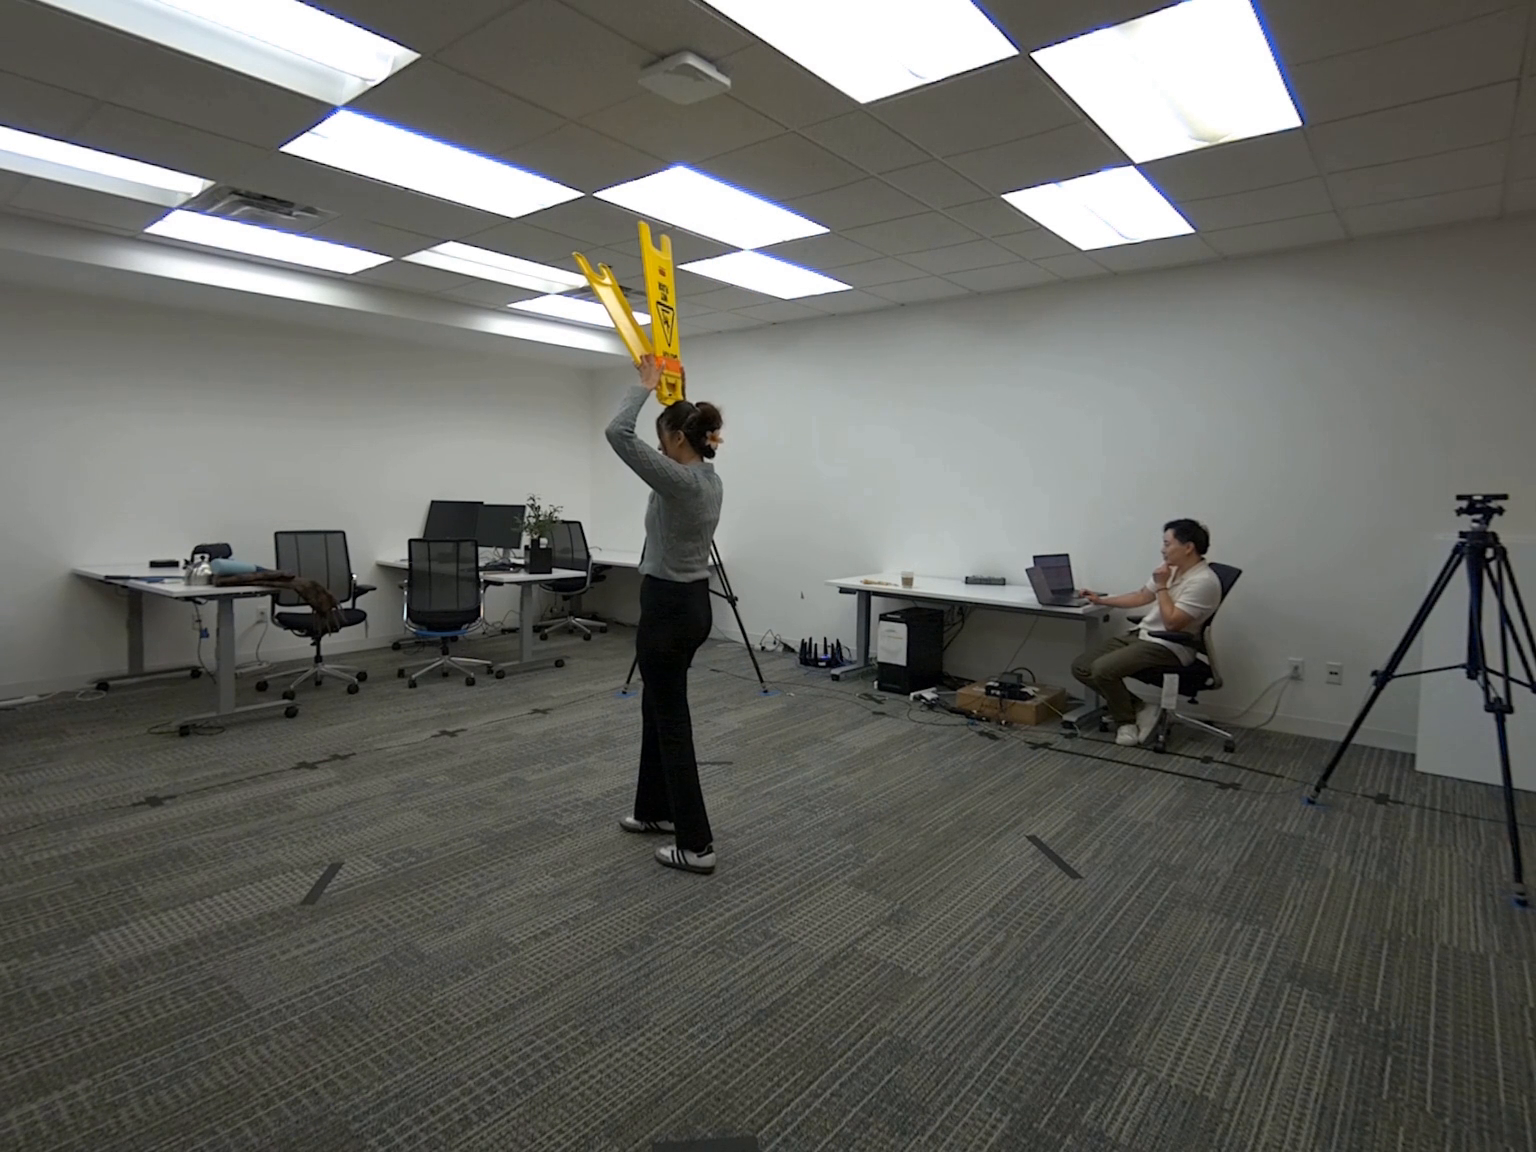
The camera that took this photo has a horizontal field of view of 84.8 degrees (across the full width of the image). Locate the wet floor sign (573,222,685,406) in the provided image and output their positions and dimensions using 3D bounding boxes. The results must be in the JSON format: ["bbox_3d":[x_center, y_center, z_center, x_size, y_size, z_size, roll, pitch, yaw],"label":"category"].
[{"bbox_3d":[-0.469,-0.959,3.232,0.294,0.647,0.278,-18,-1,20],"label":"wet floor sign"}]
